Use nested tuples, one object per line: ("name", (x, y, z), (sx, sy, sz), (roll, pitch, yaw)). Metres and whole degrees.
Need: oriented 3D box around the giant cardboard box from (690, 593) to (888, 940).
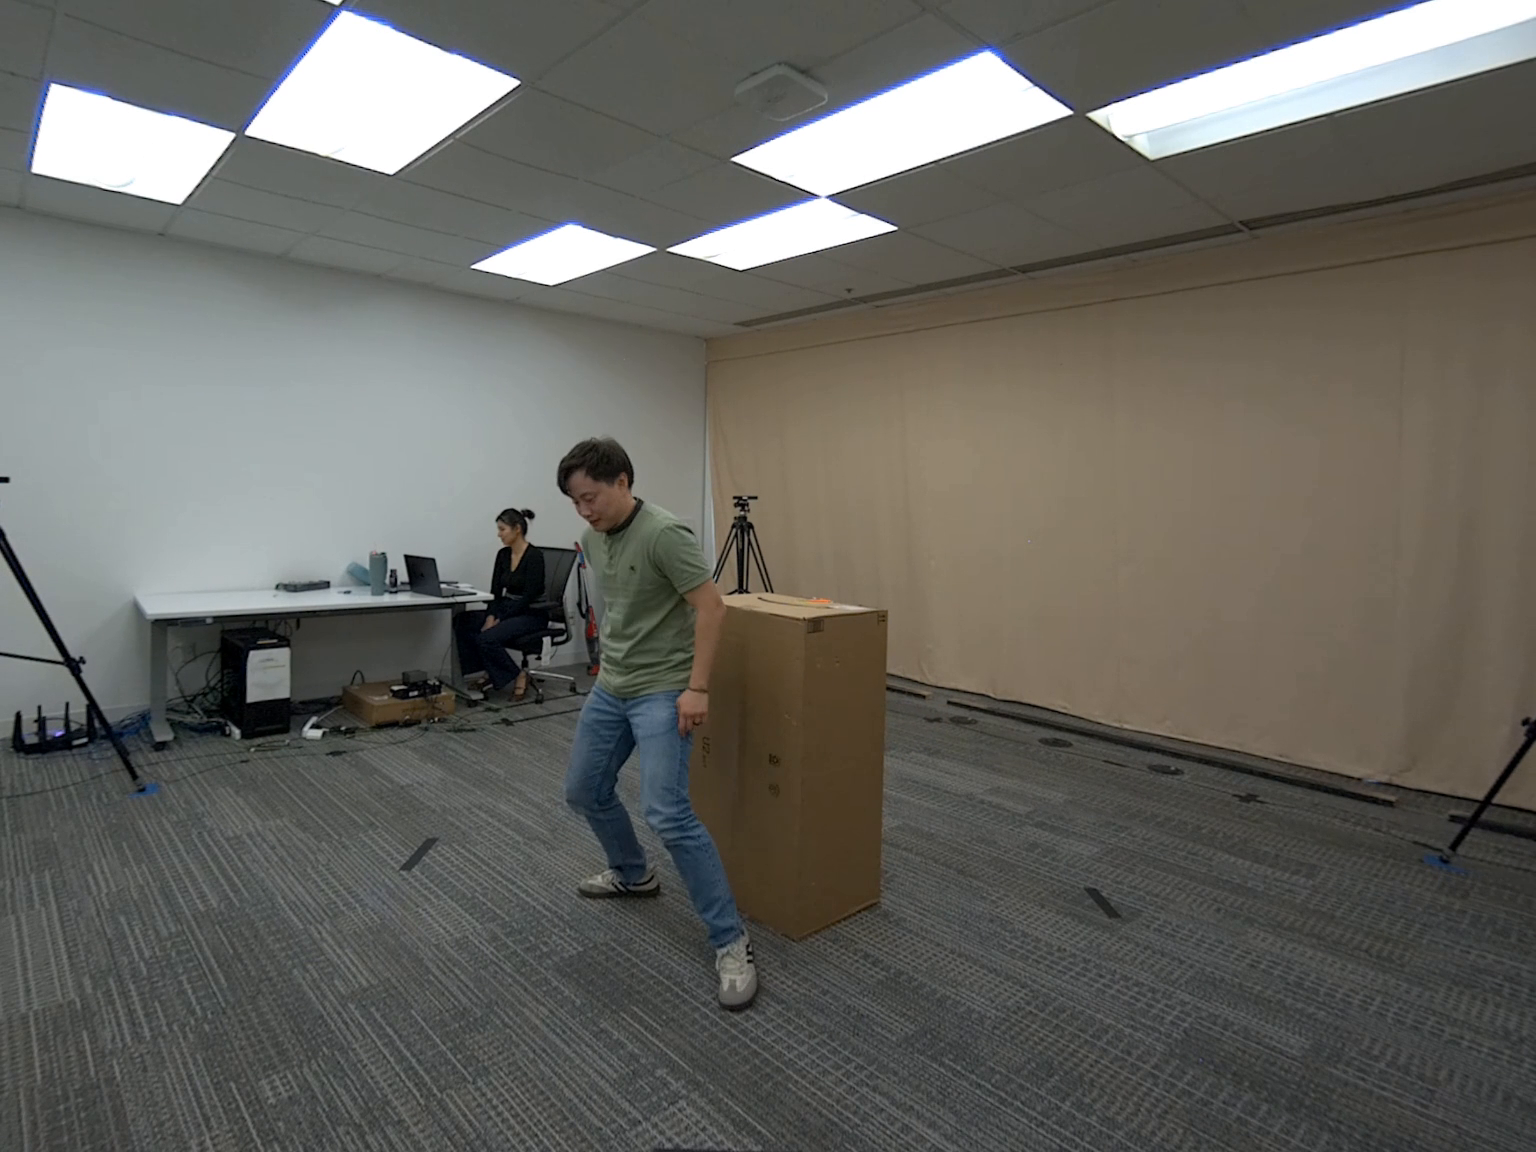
("giant cardboard box", (0.049, 0.609, 2.973), (0.416, 1.023, 0.592), (-2, 5, -43))
